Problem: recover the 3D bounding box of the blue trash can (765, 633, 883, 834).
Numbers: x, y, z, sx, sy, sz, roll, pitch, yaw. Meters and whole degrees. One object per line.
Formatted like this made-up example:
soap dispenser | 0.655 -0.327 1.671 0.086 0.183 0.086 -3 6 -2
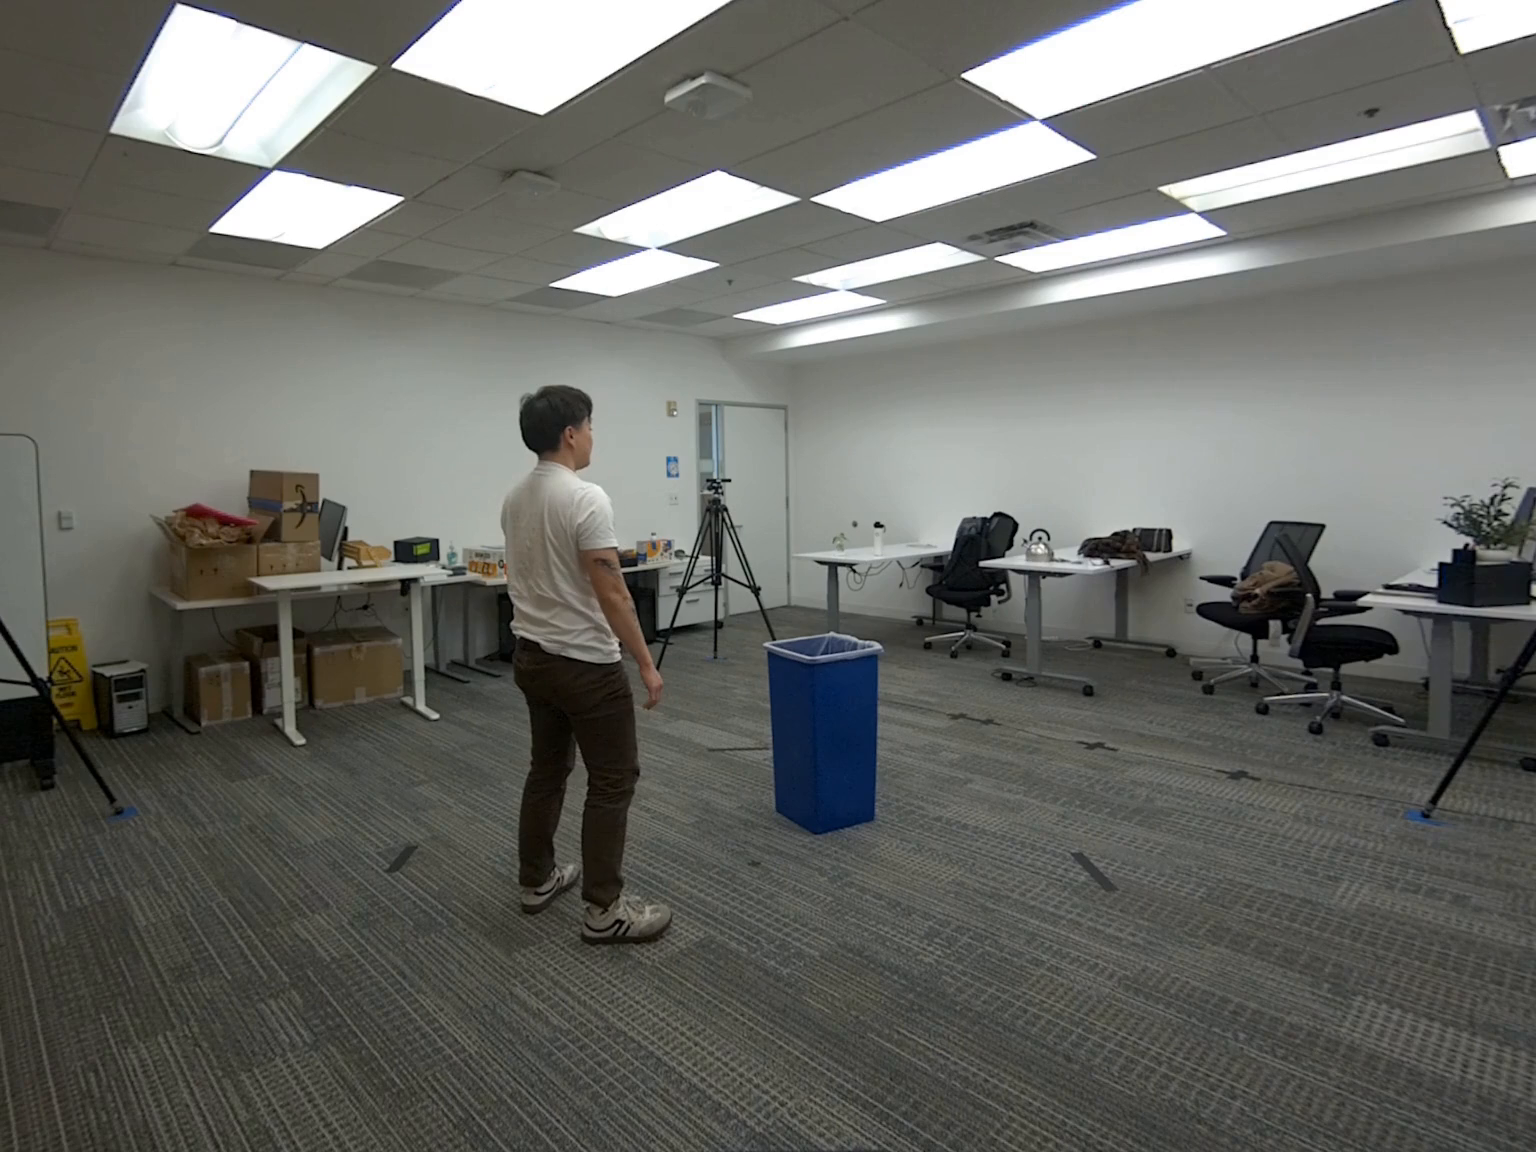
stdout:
blue trash can | 0.225 0.634 3.523 0.369 0.710 0.385 -4 5 -32
